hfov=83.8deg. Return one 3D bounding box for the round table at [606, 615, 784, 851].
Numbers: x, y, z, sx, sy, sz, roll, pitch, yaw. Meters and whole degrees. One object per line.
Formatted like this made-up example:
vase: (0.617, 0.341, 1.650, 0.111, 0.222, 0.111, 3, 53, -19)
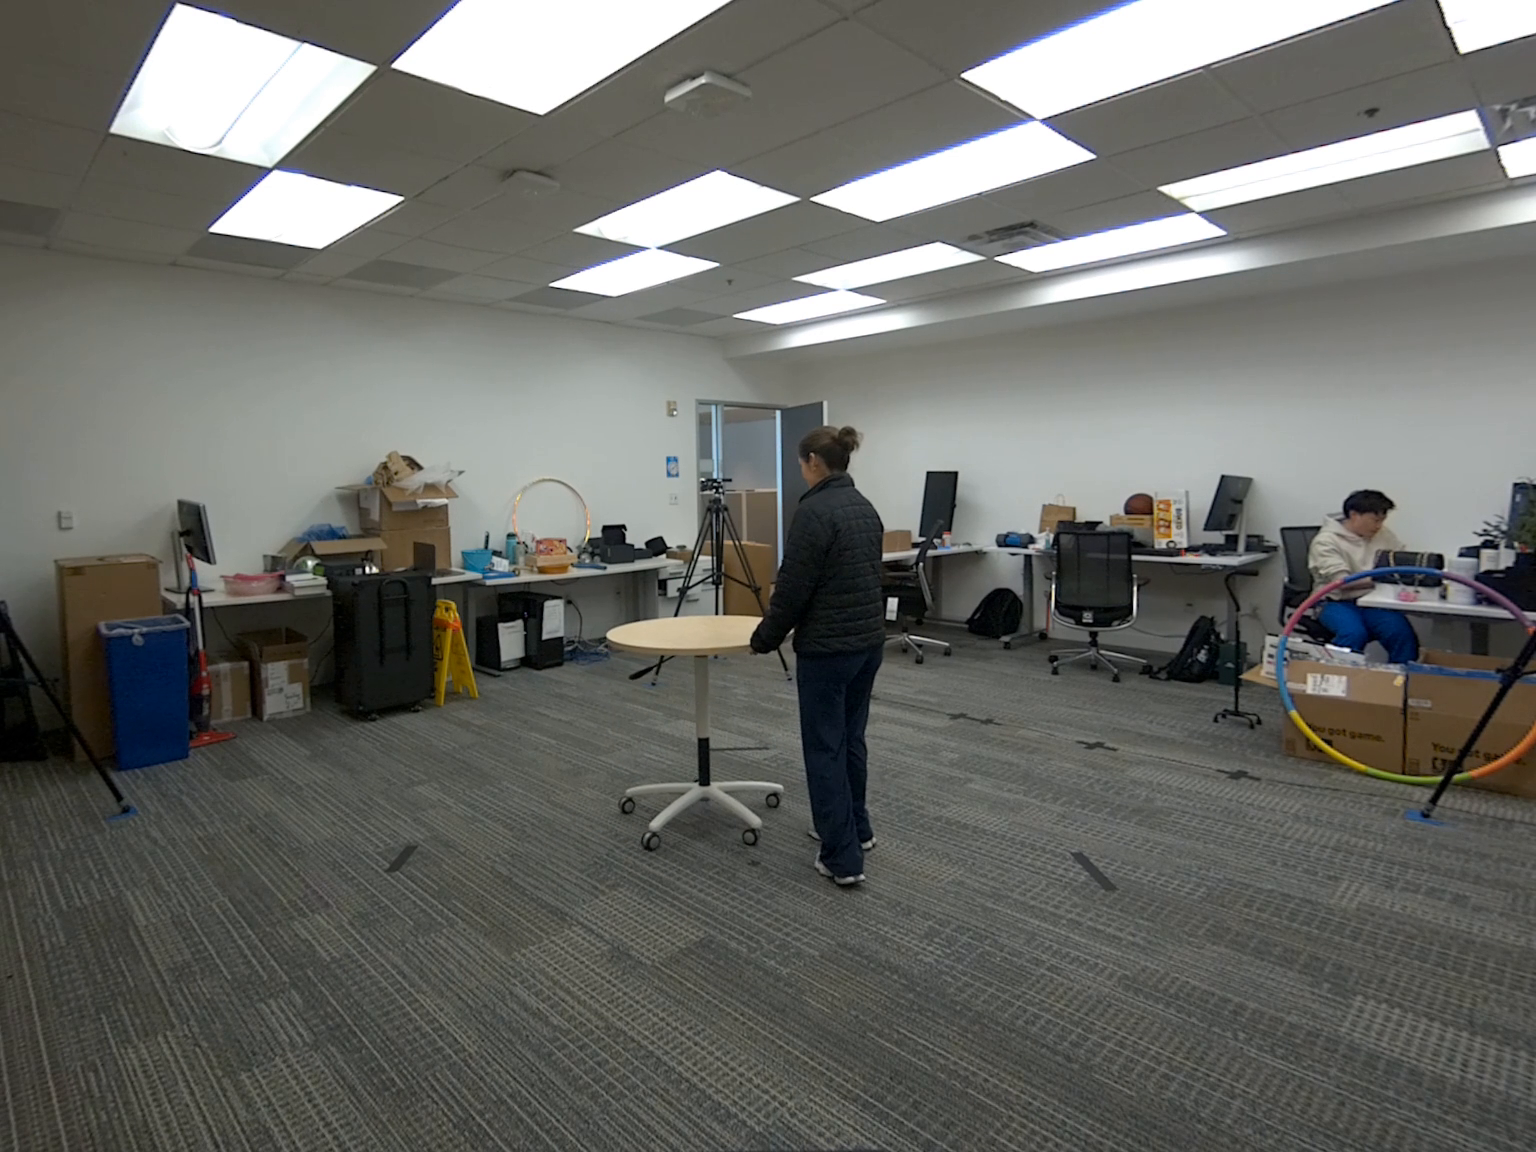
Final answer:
round table: (-0.267, 0.608, 3.507, 0.784, 0.784, 0.788, -1, 4, -2)
